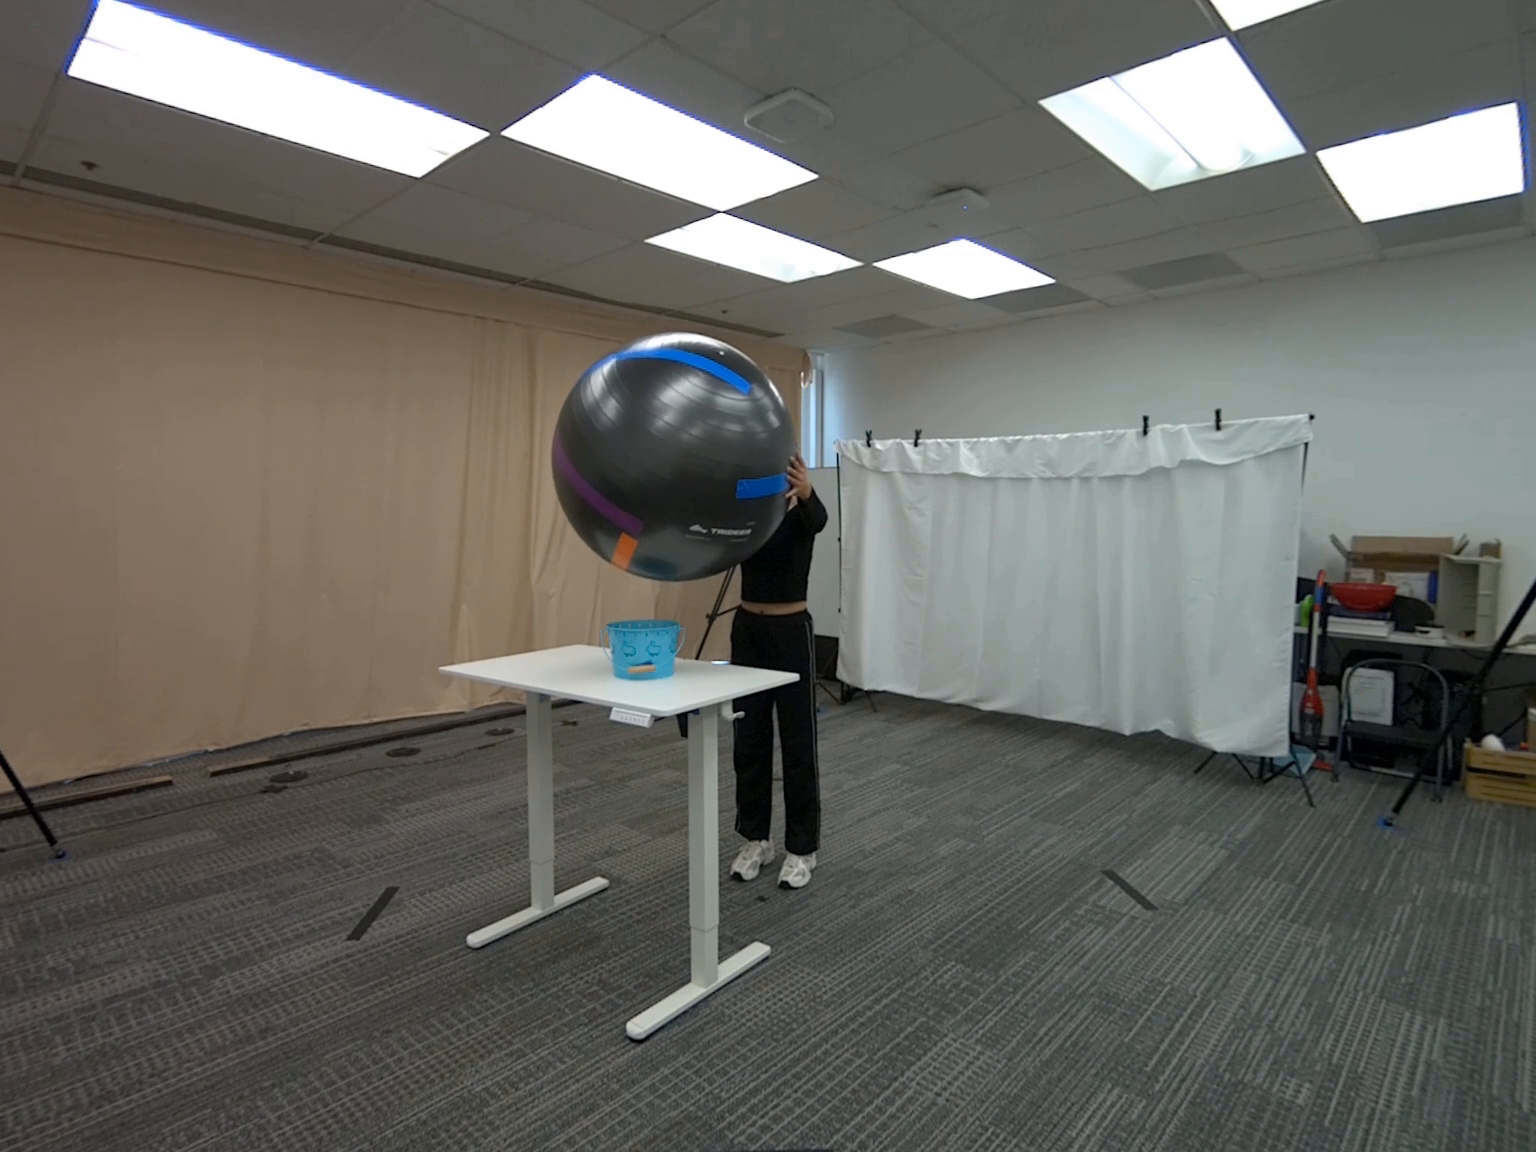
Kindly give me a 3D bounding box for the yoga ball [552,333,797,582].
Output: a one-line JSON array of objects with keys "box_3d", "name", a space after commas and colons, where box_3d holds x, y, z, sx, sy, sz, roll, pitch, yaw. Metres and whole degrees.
[{"box_3d": [-0.286, -0.355, 2.582, 0.757, 0.756, 0.761, 0, 4, -2], "name": "yoga ball"}]
